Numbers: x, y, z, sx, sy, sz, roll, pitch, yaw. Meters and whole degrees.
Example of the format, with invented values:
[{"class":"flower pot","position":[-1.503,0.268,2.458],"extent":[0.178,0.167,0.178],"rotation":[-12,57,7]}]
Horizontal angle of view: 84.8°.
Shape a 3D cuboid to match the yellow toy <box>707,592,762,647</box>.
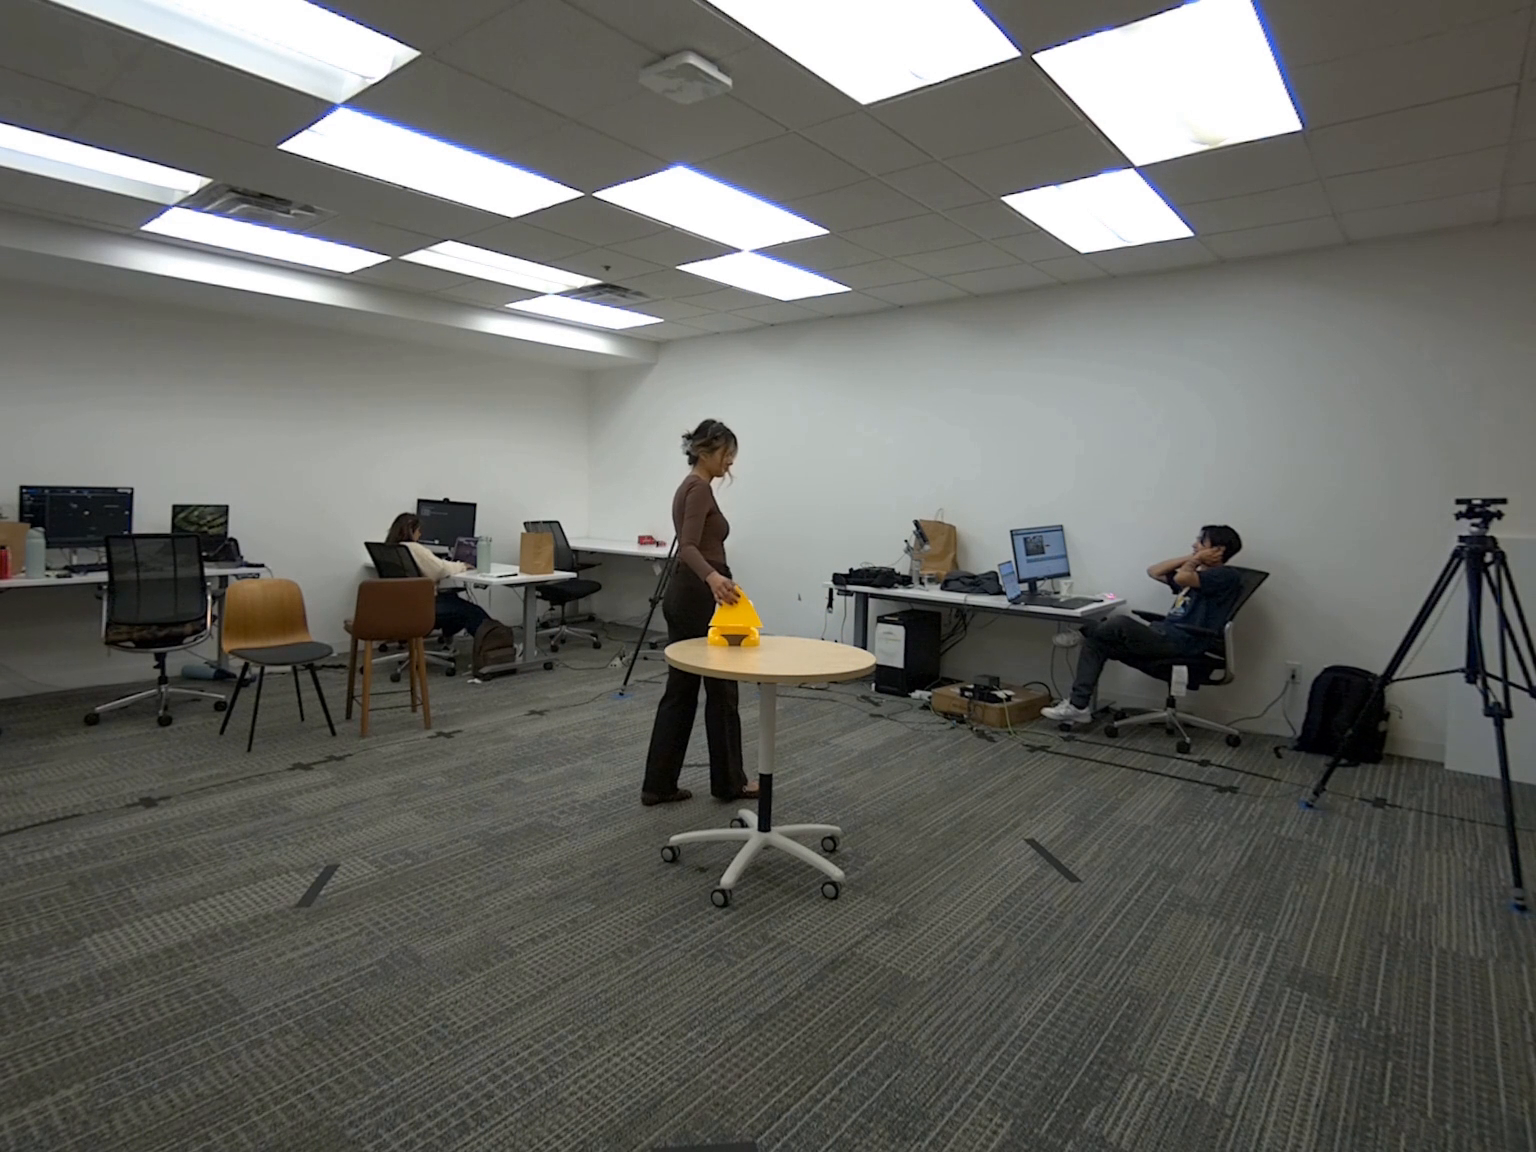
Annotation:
[{"class":"yellow toy","position":[-0.139,0.141,3.283],"extent":[0.204,0.230,0.194],"rotation":[1,3,-4]}]
